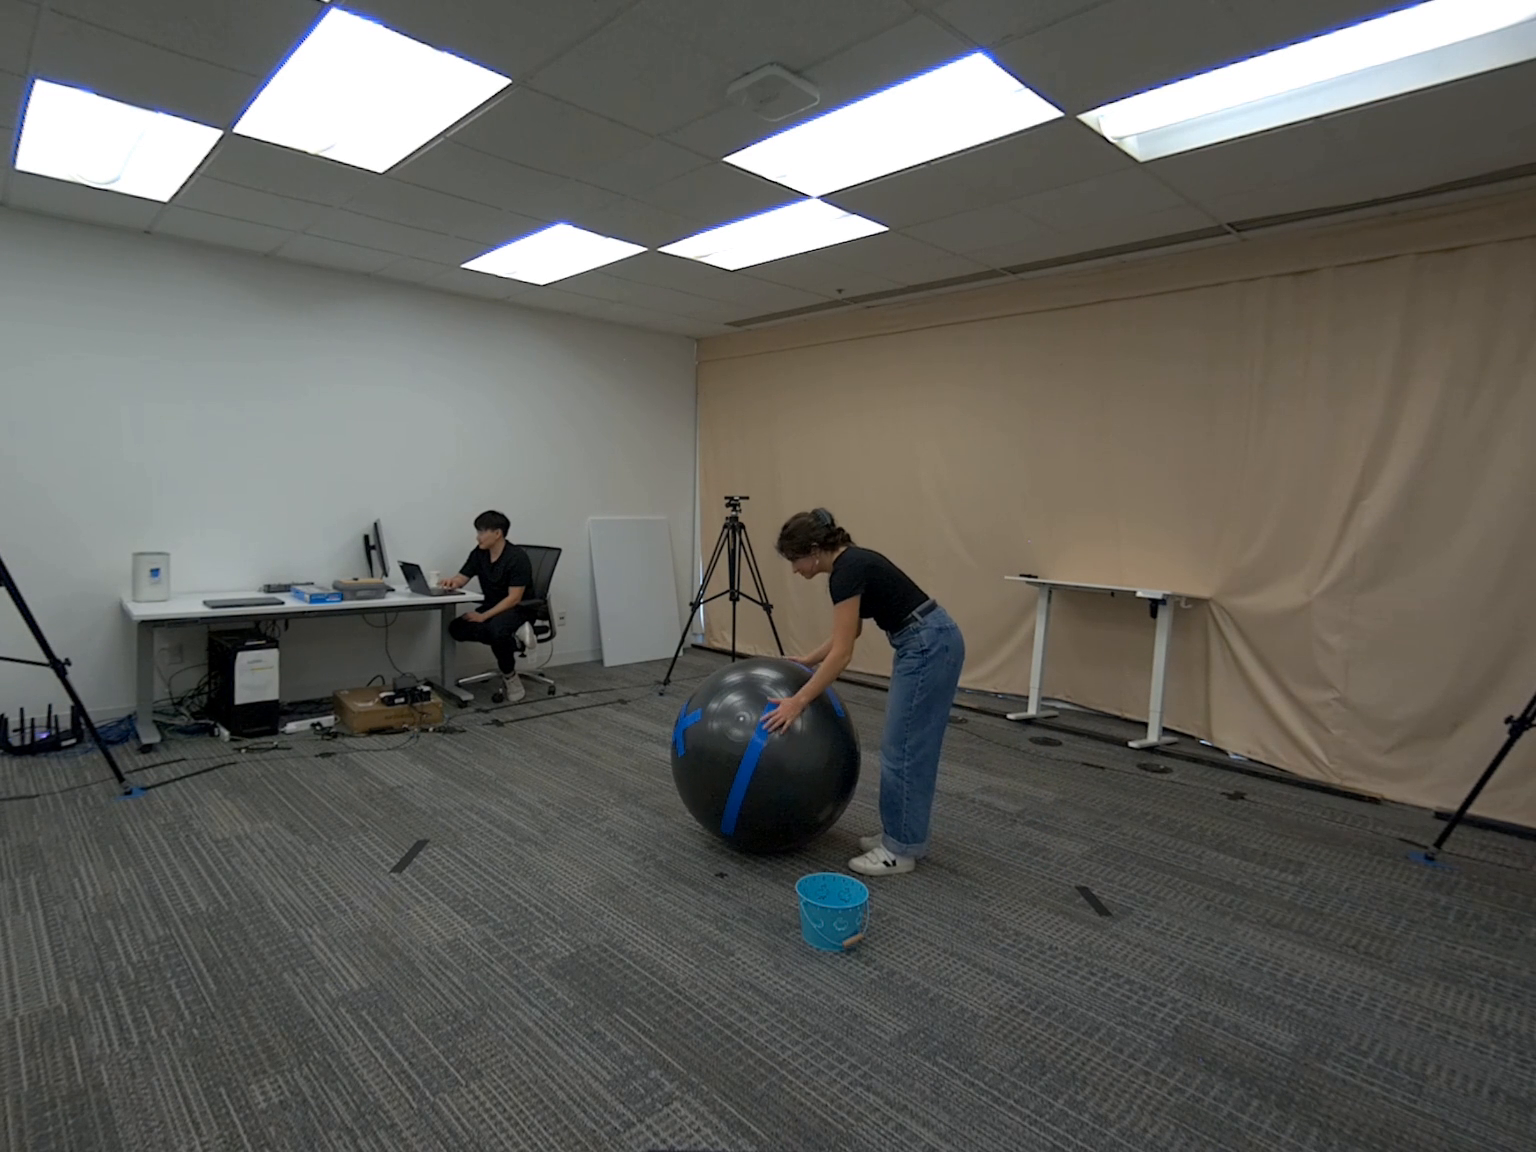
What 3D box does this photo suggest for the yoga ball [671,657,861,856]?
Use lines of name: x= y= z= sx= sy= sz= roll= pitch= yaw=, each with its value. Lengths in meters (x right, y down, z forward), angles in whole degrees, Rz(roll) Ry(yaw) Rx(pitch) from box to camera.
yoga ball: x=-0.024 y=0.714 z=3.380 sx=0.757 sy=0.756 sz=0.761 roll=1 pitch=4 yaw=-1
